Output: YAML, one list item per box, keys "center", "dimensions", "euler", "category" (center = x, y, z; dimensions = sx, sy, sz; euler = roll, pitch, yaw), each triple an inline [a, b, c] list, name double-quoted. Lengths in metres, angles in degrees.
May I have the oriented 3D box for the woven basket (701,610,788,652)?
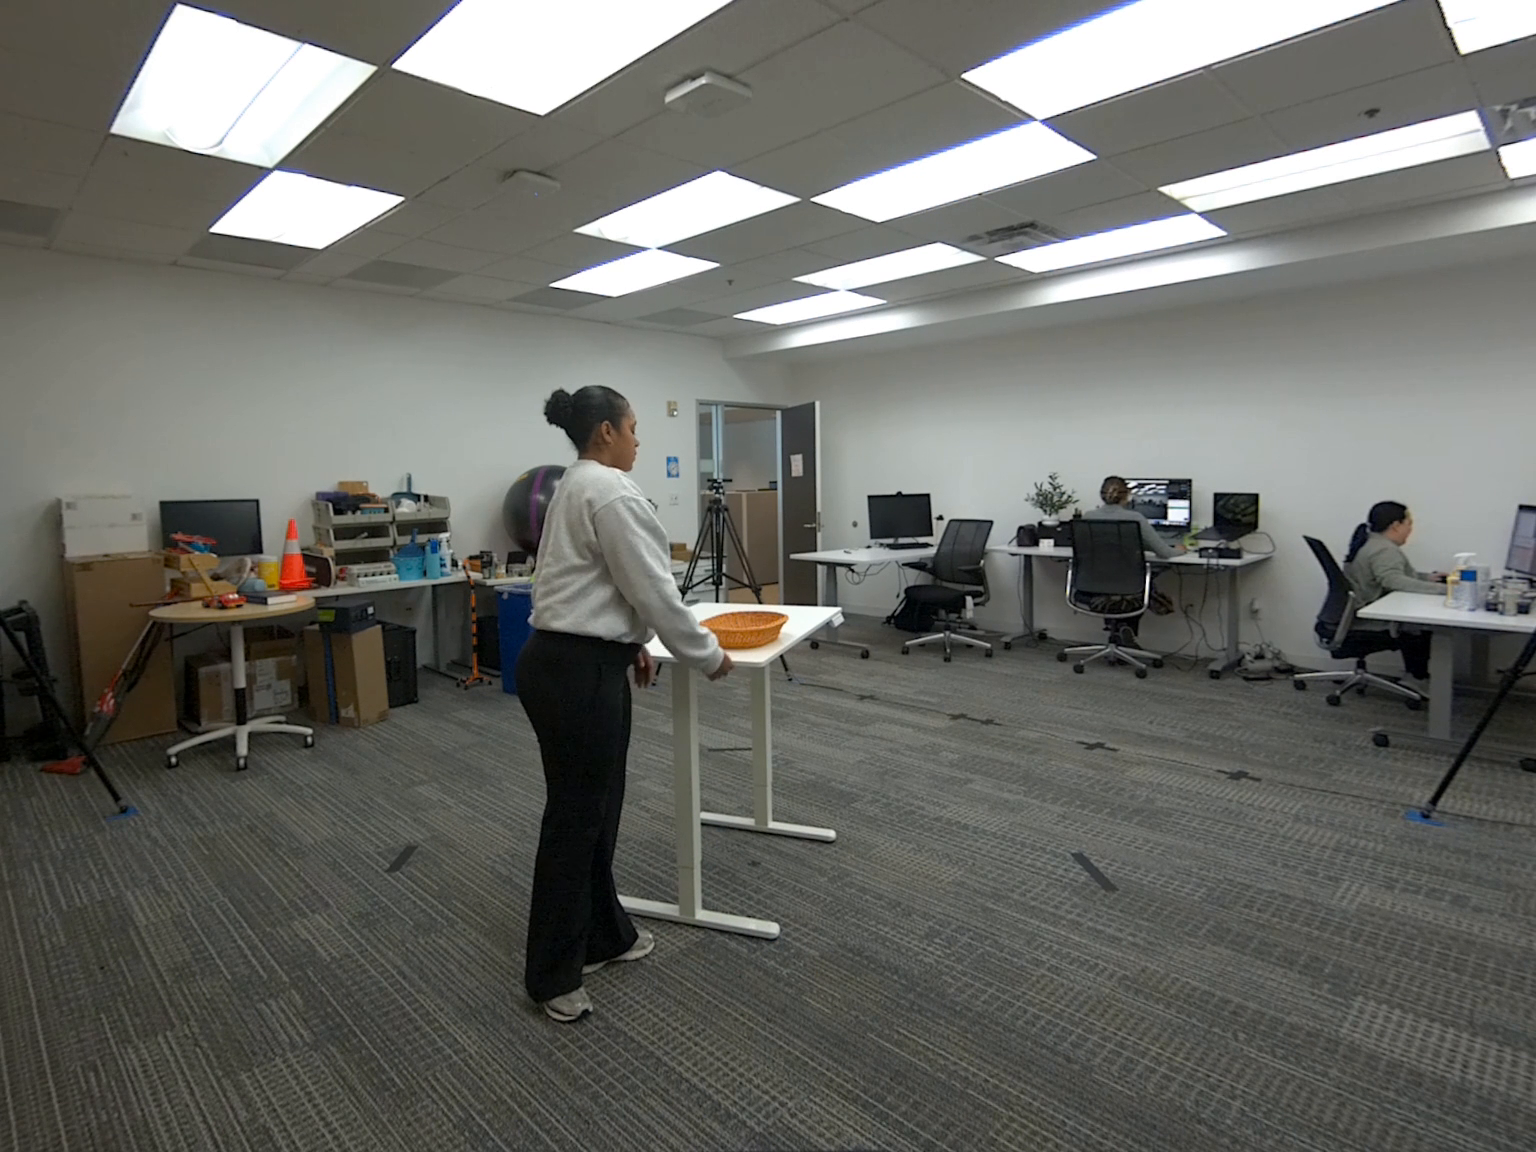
- center: [-0.068, 0.181, 2.720]
  dimensions: [0.259, 0.073, 0.342]
  euler: [3, 8, 33]
  category: "woven basket"
